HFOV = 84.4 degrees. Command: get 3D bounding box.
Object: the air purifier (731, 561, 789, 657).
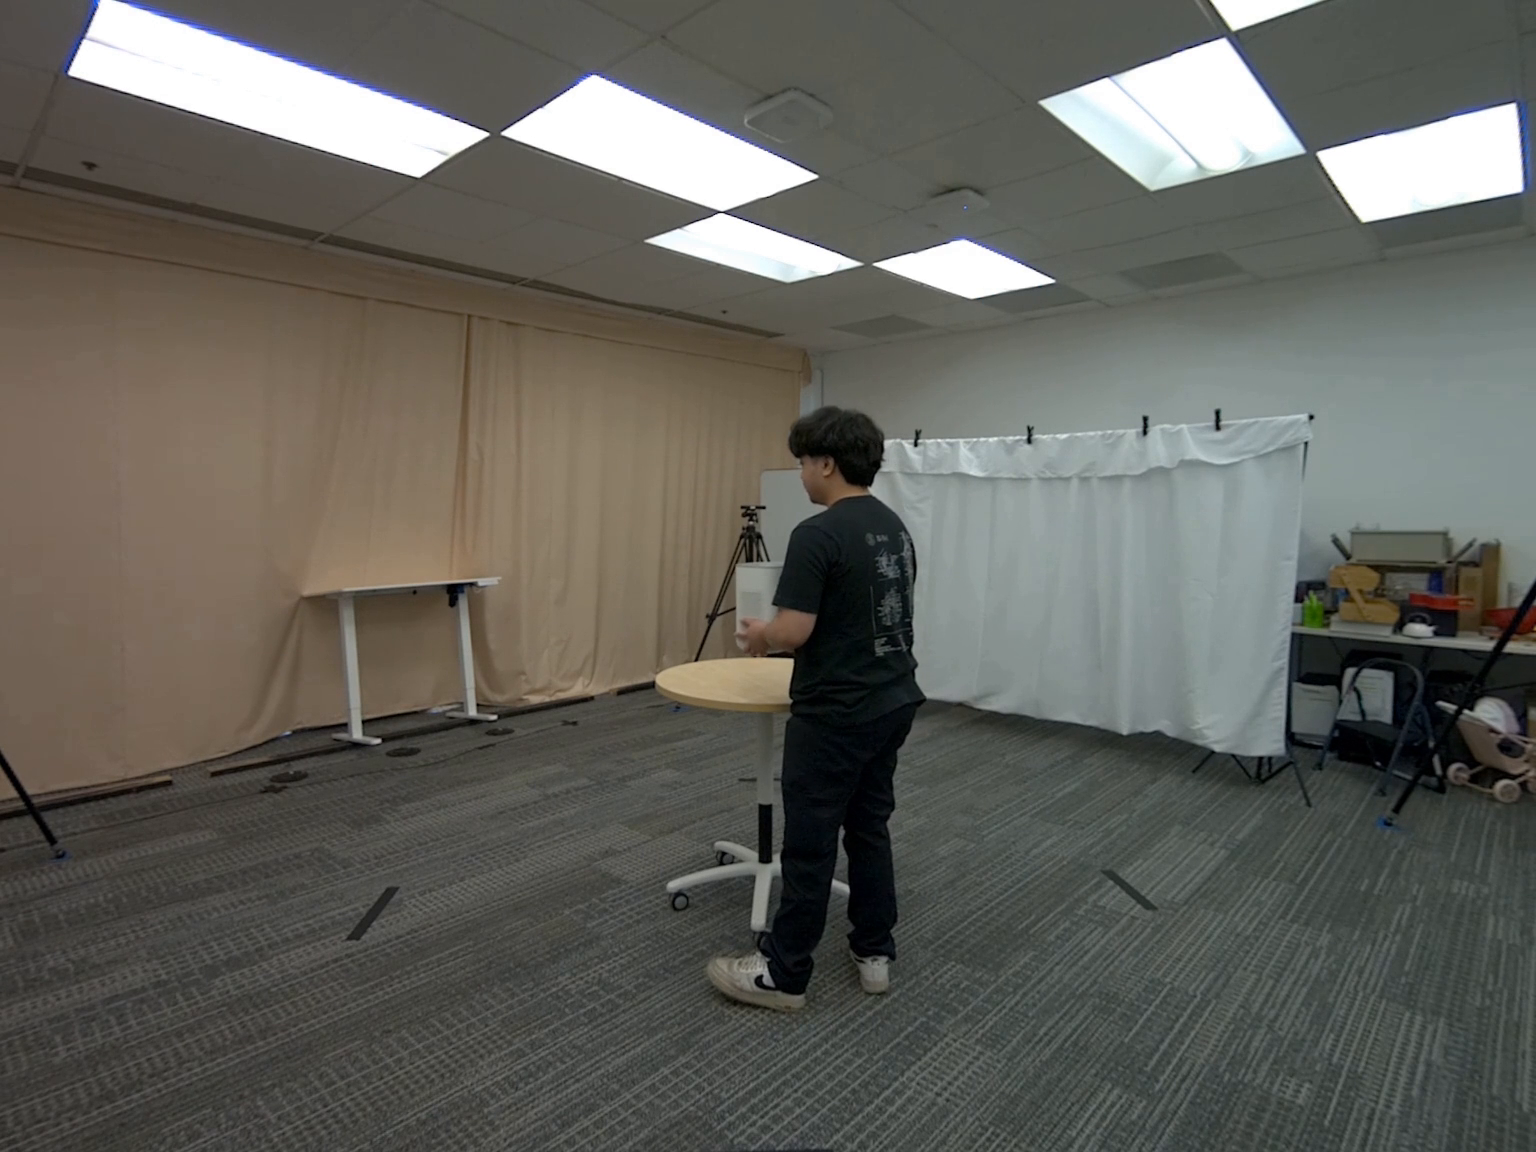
[{"bbox_3d":[0.008,0.094,2.606,0.177,0.265,0.166,2,4,36],"label":"air purifier"}]
